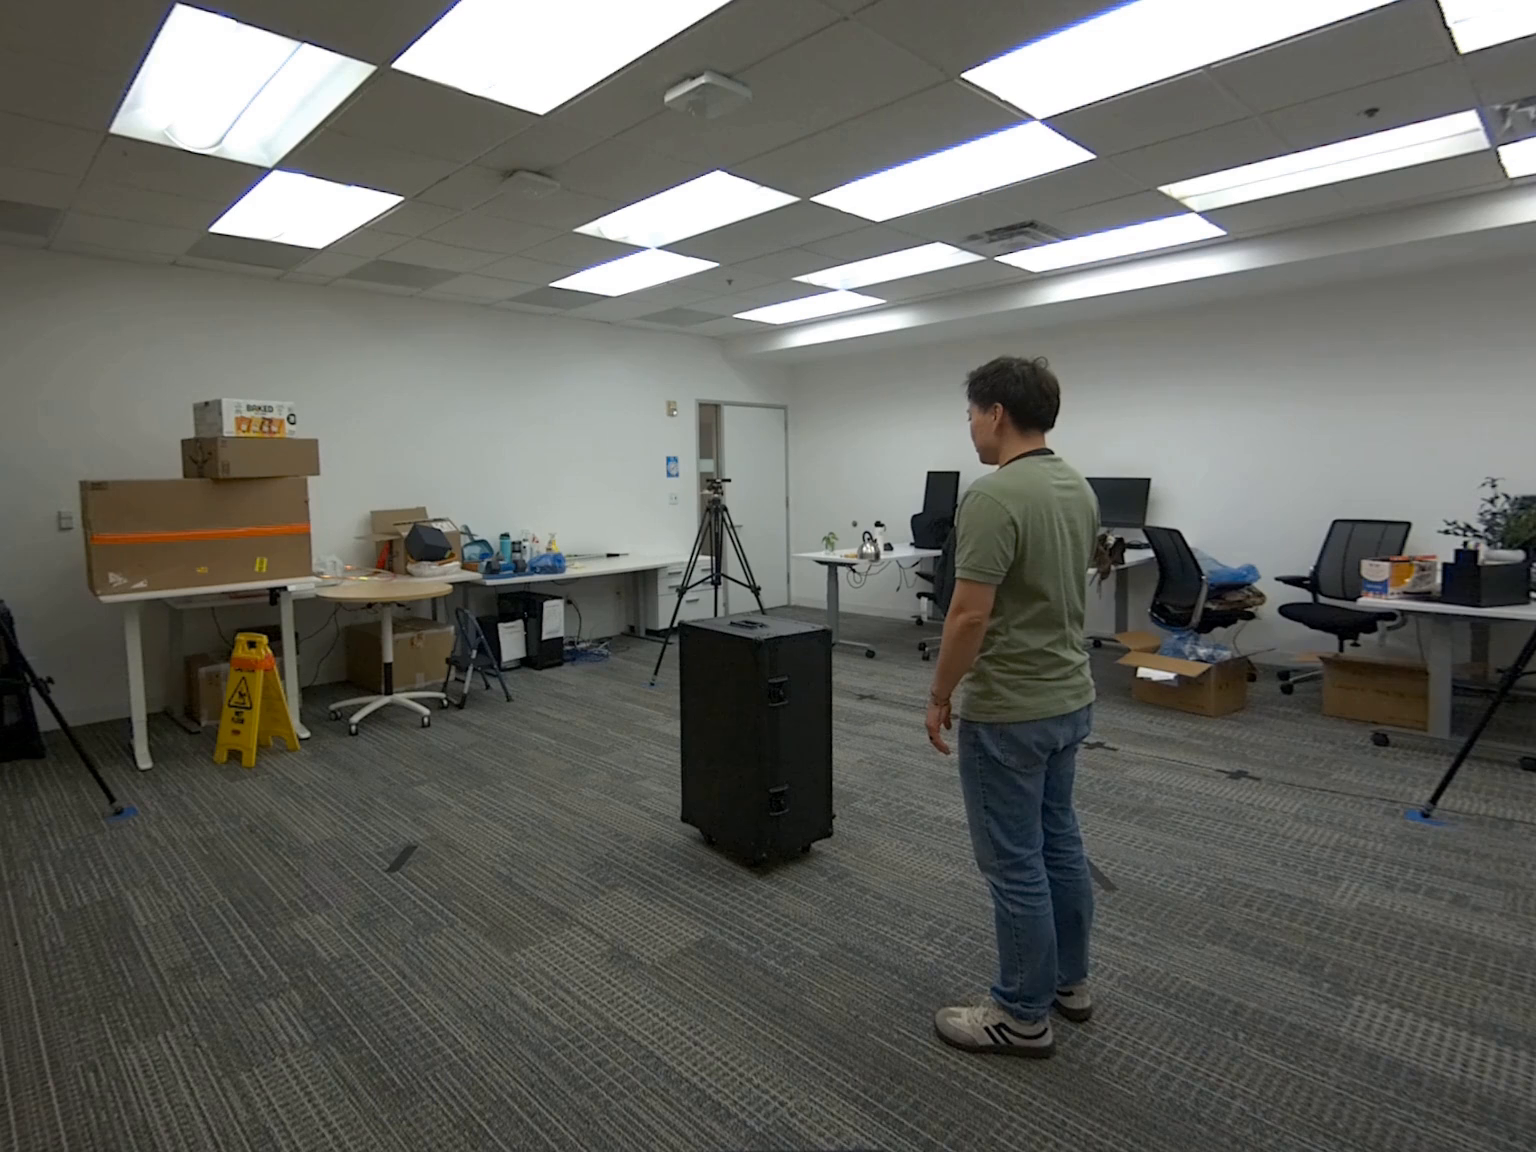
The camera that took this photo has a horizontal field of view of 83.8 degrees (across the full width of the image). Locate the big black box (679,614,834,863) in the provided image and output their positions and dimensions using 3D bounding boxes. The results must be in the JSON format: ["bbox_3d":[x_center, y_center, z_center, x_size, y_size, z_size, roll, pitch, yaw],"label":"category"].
[{"bbox_3d":[-0.044,0.604,3.235,0.385,0.859,0.537,-3,4,-40],"label":"big black box"}]
